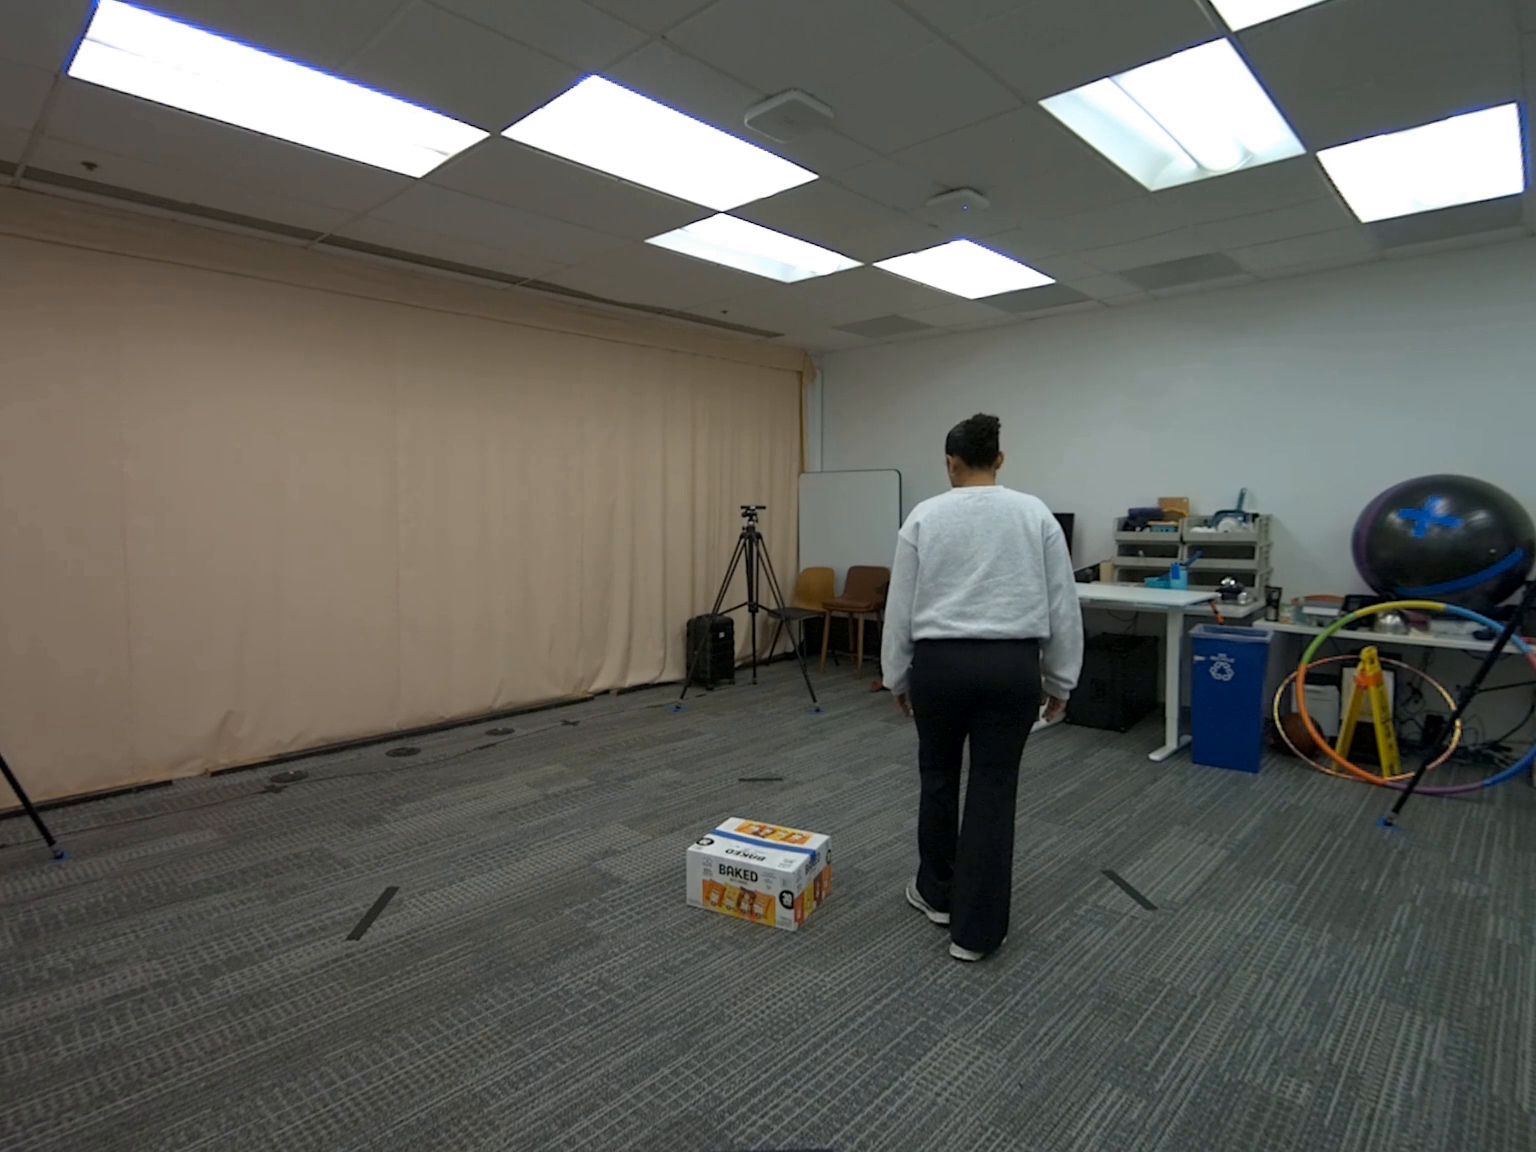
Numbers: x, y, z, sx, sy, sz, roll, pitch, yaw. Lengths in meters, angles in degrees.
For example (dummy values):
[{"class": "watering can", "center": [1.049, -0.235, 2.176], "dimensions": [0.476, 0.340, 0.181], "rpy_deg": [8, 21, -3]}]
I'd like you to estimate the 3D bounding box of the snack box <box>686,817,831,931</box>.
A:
[{"class": "snack box", "center": [-0.024, 1.043, 2.978], "dimensions": [0.416, 0.205, 0.332], "rpy_deg": [2, 4, 27]}]
